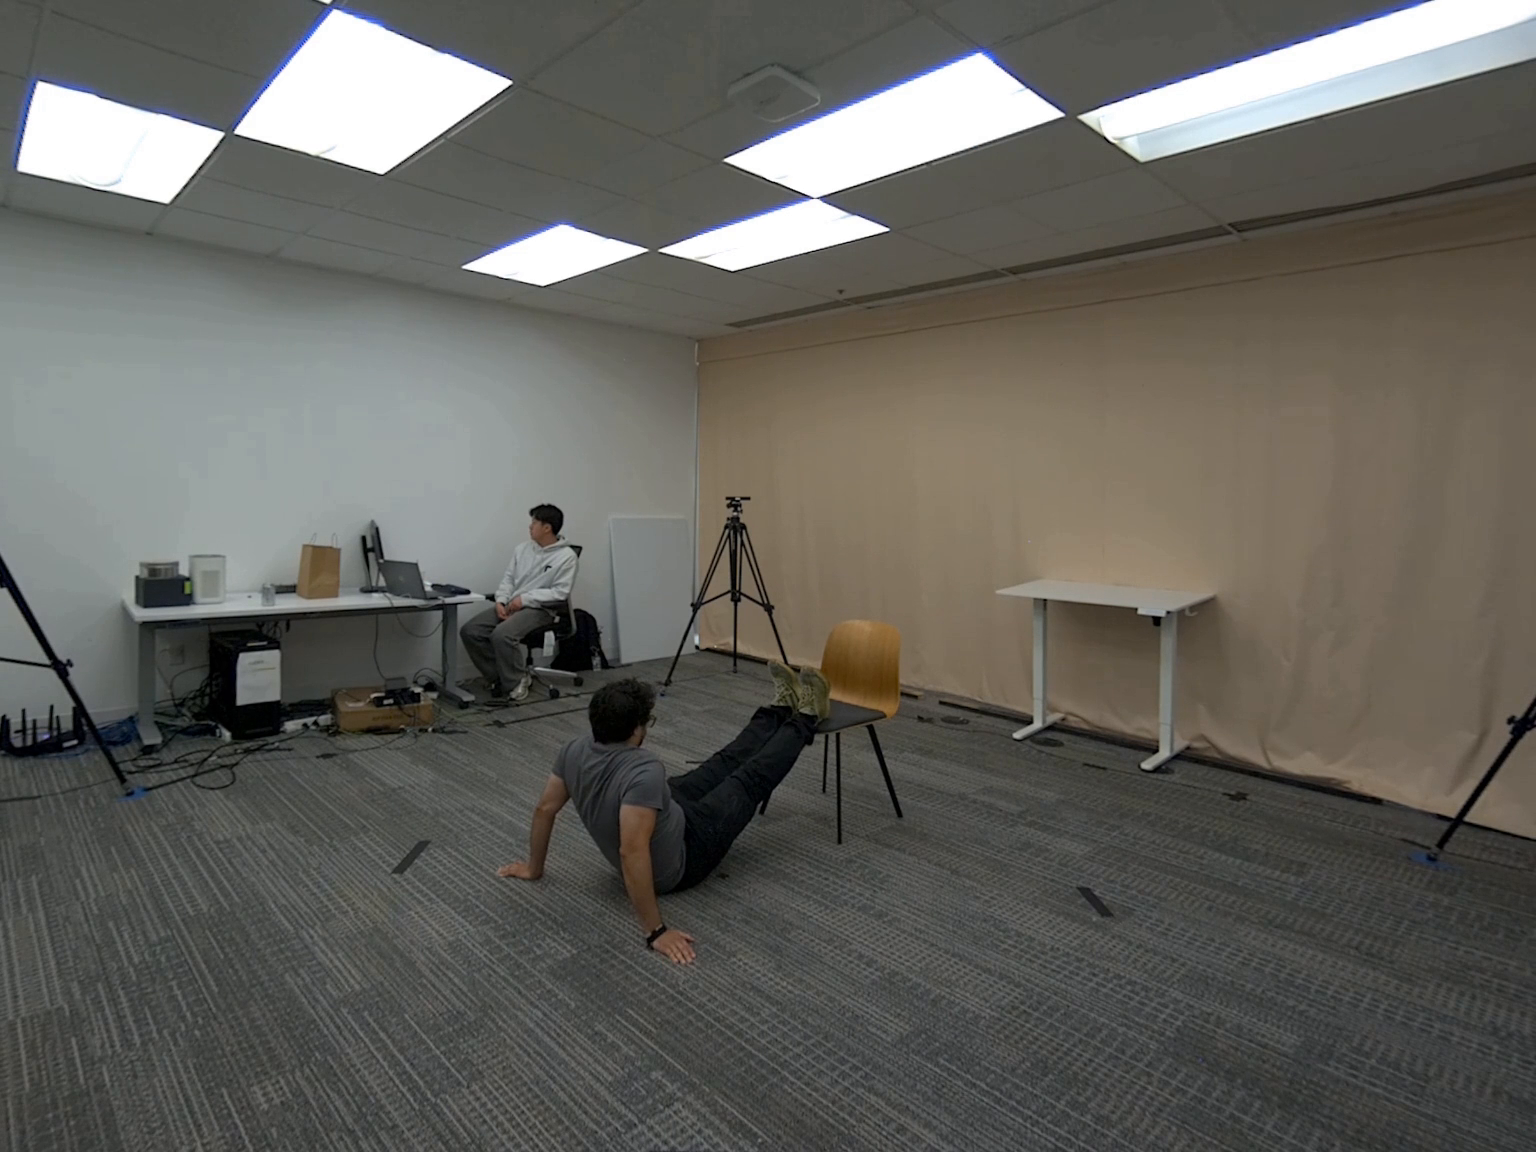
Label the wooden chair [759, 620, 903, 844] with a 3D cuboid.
[{"bbox_3d":[0.276,0.640,3.700,0.490,0.877,0.510,4,0,44],"label":"wooden chair"}]
